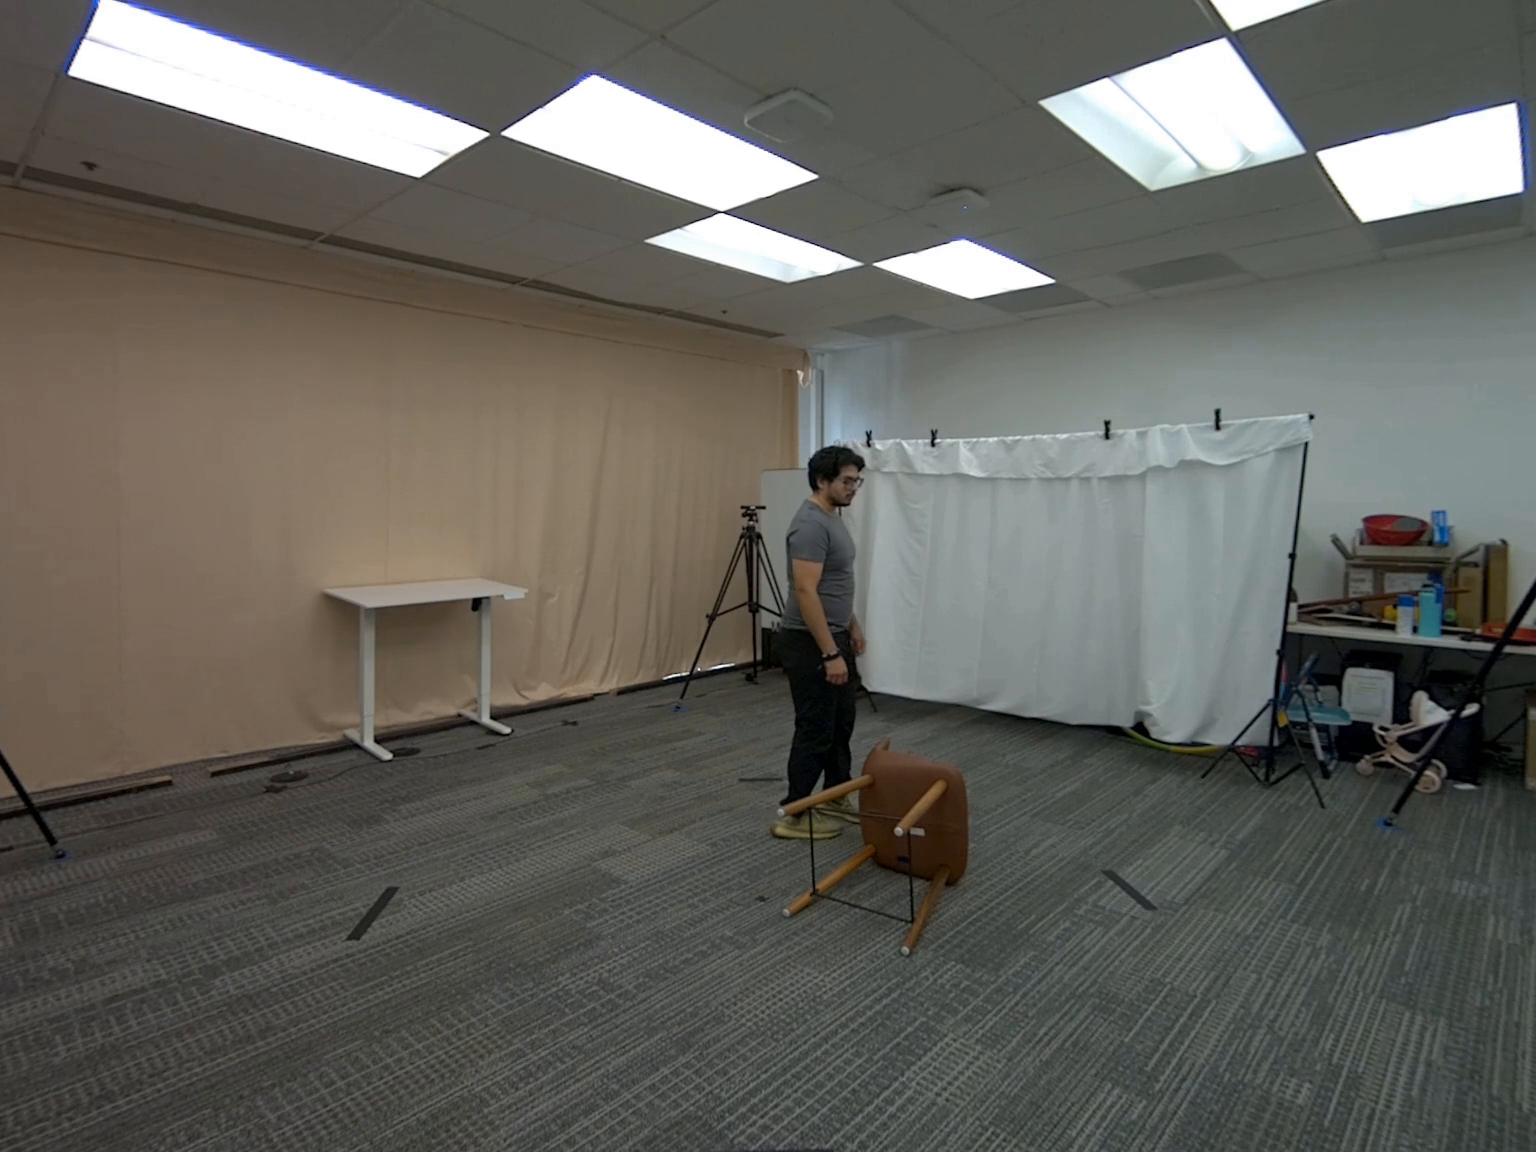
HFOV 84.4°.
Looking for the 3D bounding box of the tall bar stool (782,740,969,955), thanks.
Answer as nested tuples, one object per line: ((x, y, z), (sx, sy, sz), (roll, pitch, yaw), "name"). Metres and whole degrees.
((0.457, 0.923, 3.065), (0.481, 0.455, 0.867), (0, 6, 31), "tall bar stool")
